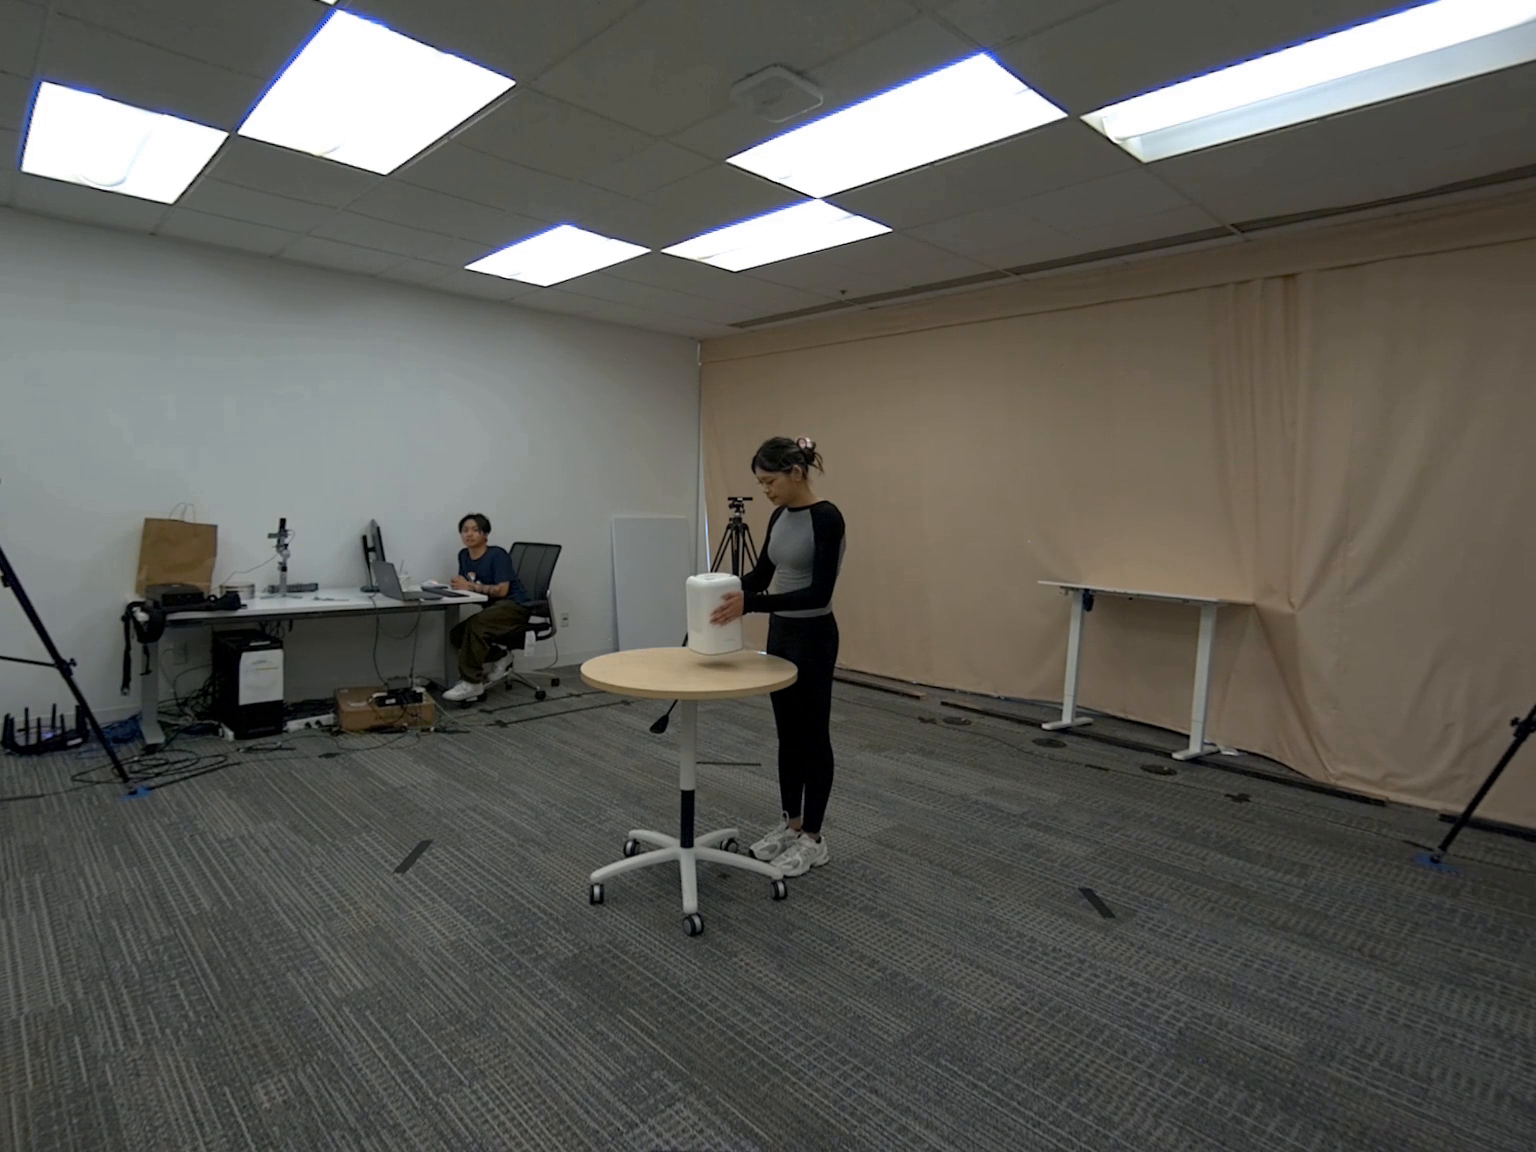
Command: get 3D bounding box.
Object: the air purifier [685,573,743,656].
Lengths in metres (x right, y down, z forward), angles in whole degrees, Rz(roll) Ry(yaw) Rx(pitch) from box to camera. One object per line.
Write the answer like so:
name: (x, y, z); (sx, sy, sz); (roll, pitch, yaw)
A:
air purifier: (-0.194, 0.131, 2.995); (0.167, 0.264, 0.176); (-8, 11, -41)
